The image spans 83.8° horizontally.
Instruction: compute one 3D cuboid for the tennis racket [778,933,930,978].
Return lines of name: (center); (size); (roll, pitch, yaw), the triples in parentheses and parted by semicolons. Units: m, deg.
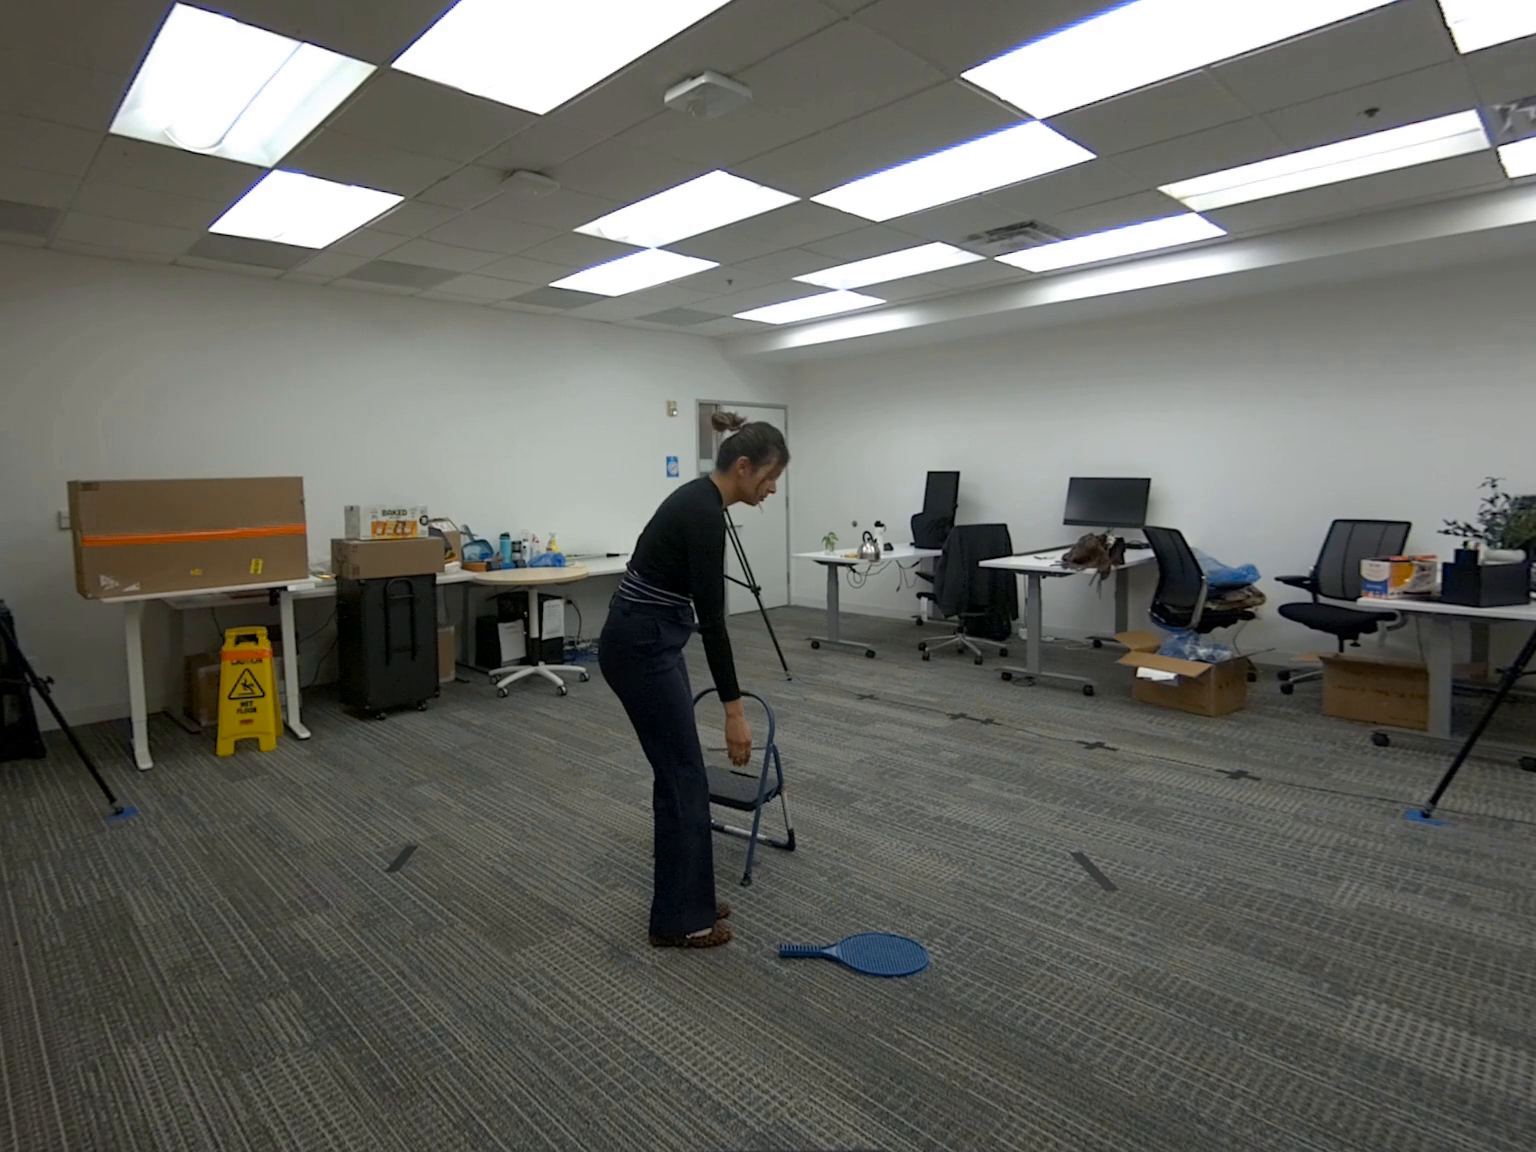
tennis racket: (0.251, 1.089, 2.497); (0.435, 0.031, 0.213); (1, 6, 5)
